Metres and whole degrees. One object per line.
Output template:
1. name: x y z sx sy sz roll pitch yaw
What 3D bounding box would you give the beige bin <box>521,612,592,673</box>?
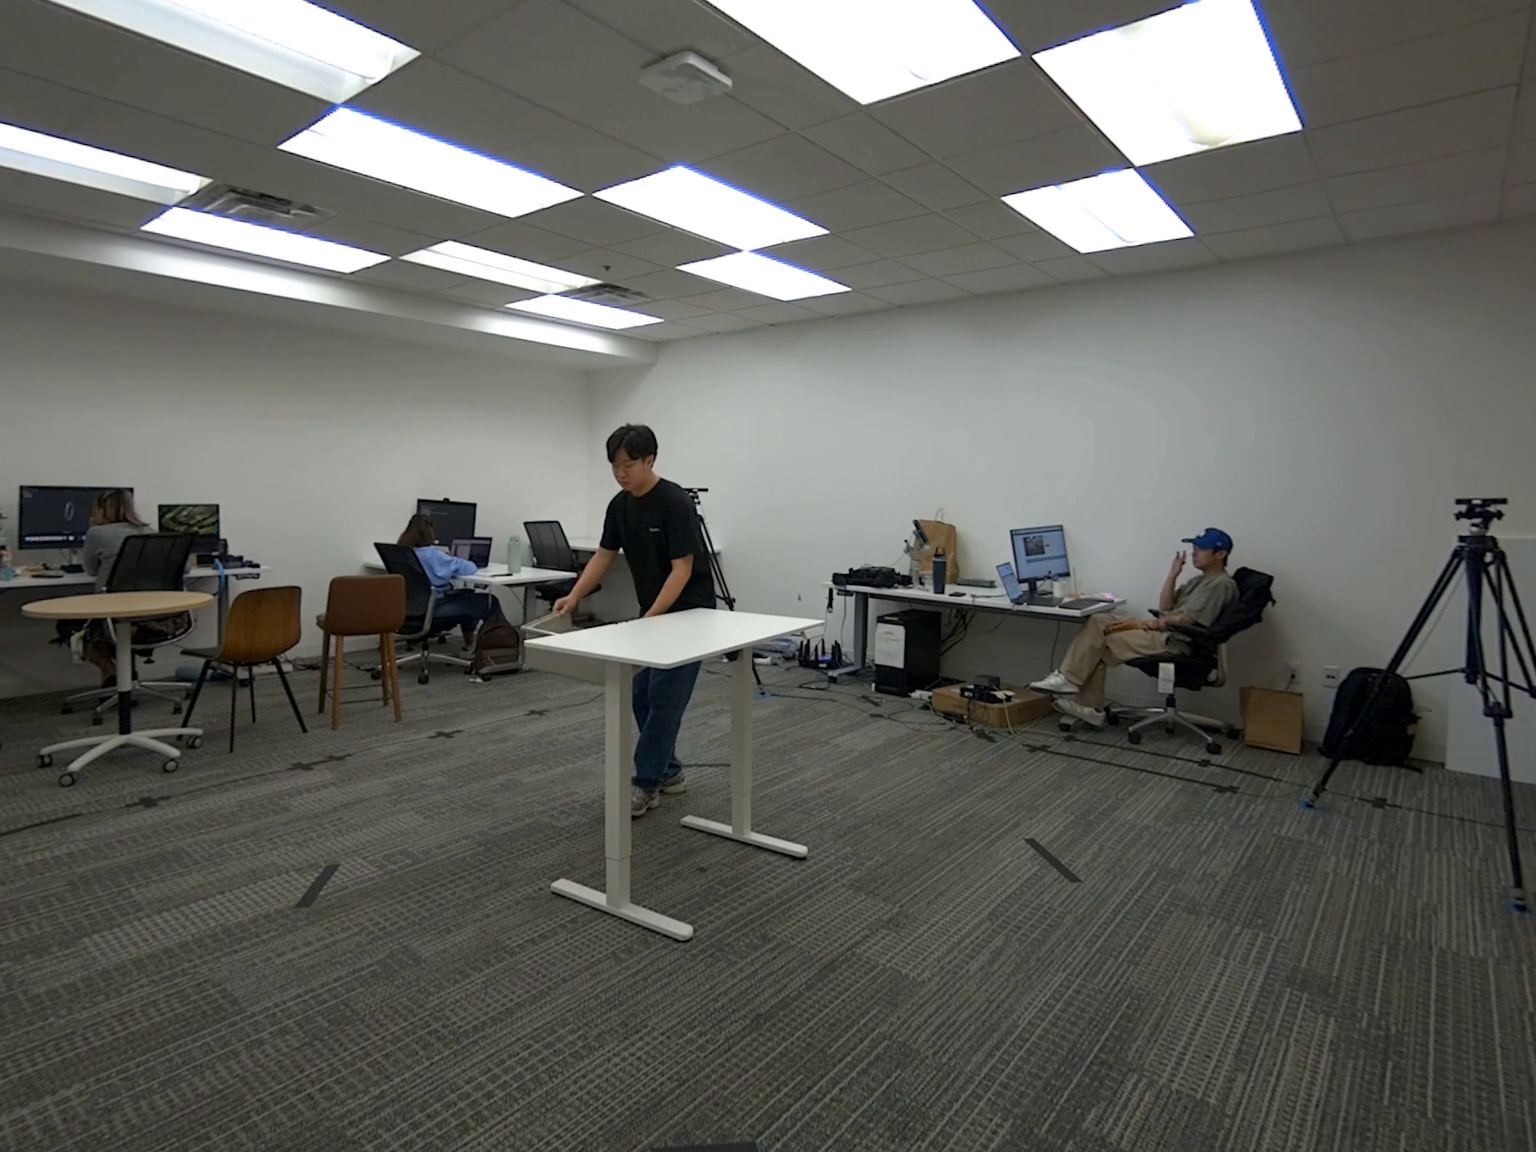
1. beige bin: -0.740 0.288 3.505 0.432 0.187 0.373 9 14 18
